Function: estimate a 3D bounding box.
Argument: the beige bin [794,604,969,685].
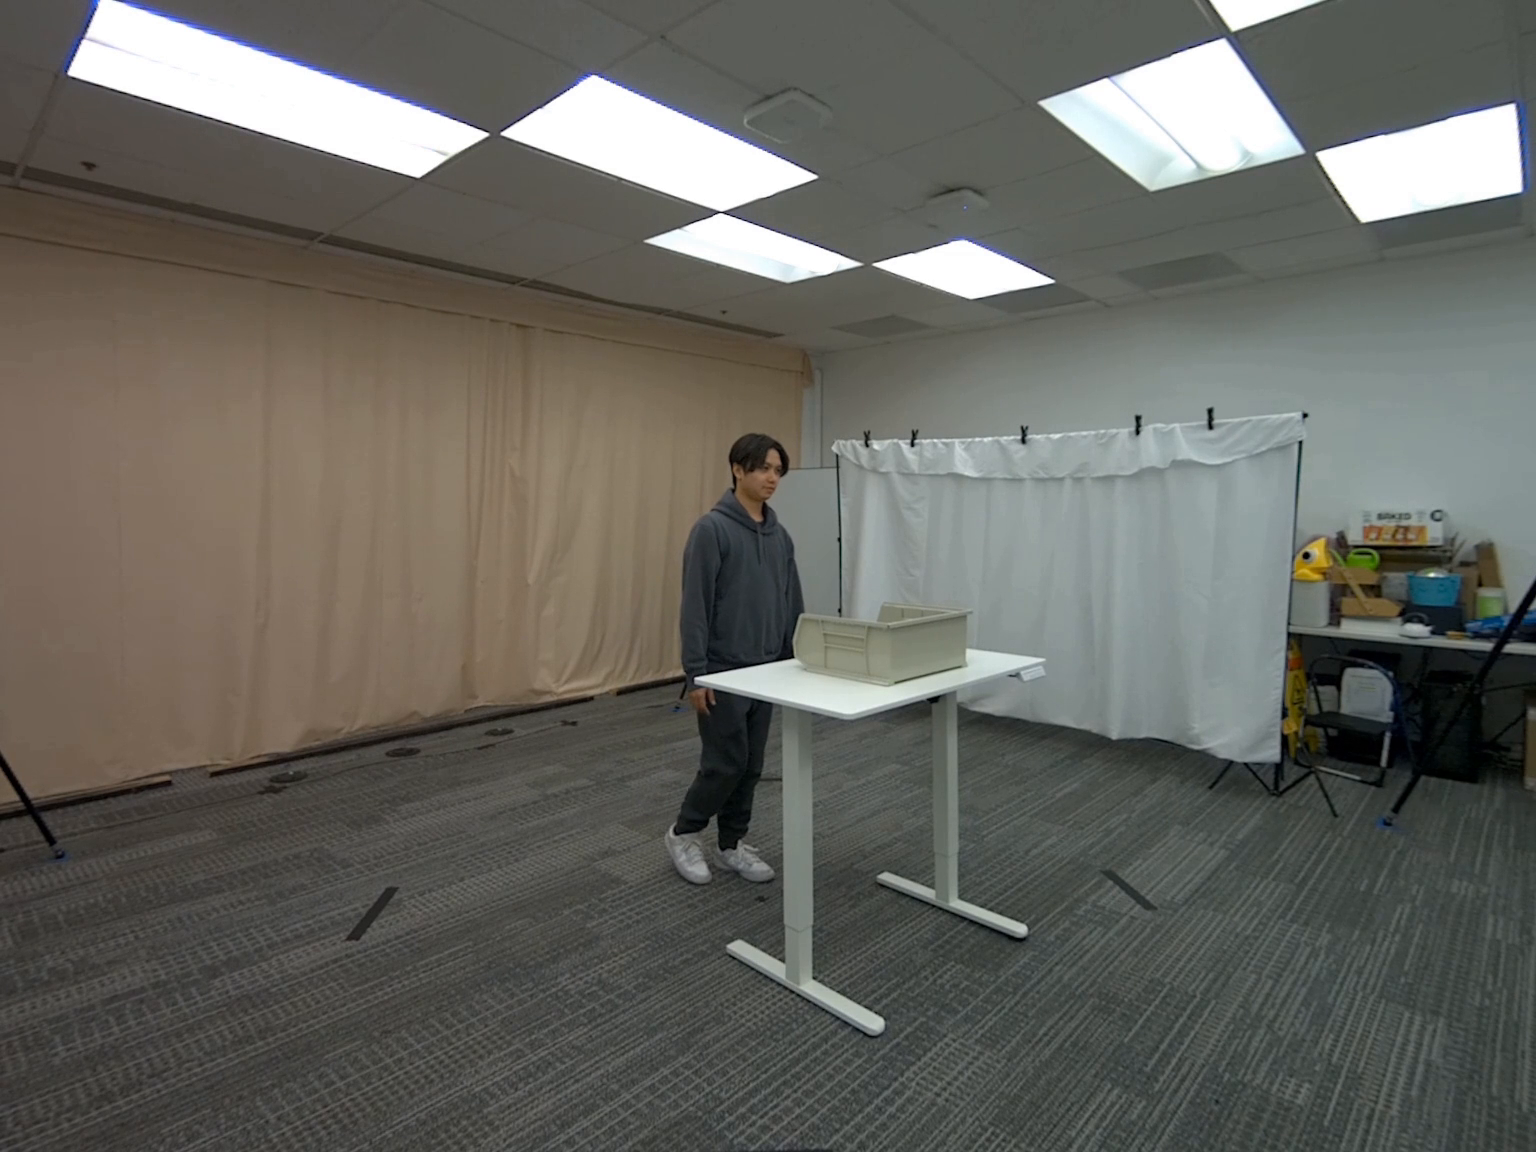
[{"bbox_3d":[0.362,0.203,2.624,0.409,0.188,0.390,-5,7,-43],"label":"beige bin"}]
